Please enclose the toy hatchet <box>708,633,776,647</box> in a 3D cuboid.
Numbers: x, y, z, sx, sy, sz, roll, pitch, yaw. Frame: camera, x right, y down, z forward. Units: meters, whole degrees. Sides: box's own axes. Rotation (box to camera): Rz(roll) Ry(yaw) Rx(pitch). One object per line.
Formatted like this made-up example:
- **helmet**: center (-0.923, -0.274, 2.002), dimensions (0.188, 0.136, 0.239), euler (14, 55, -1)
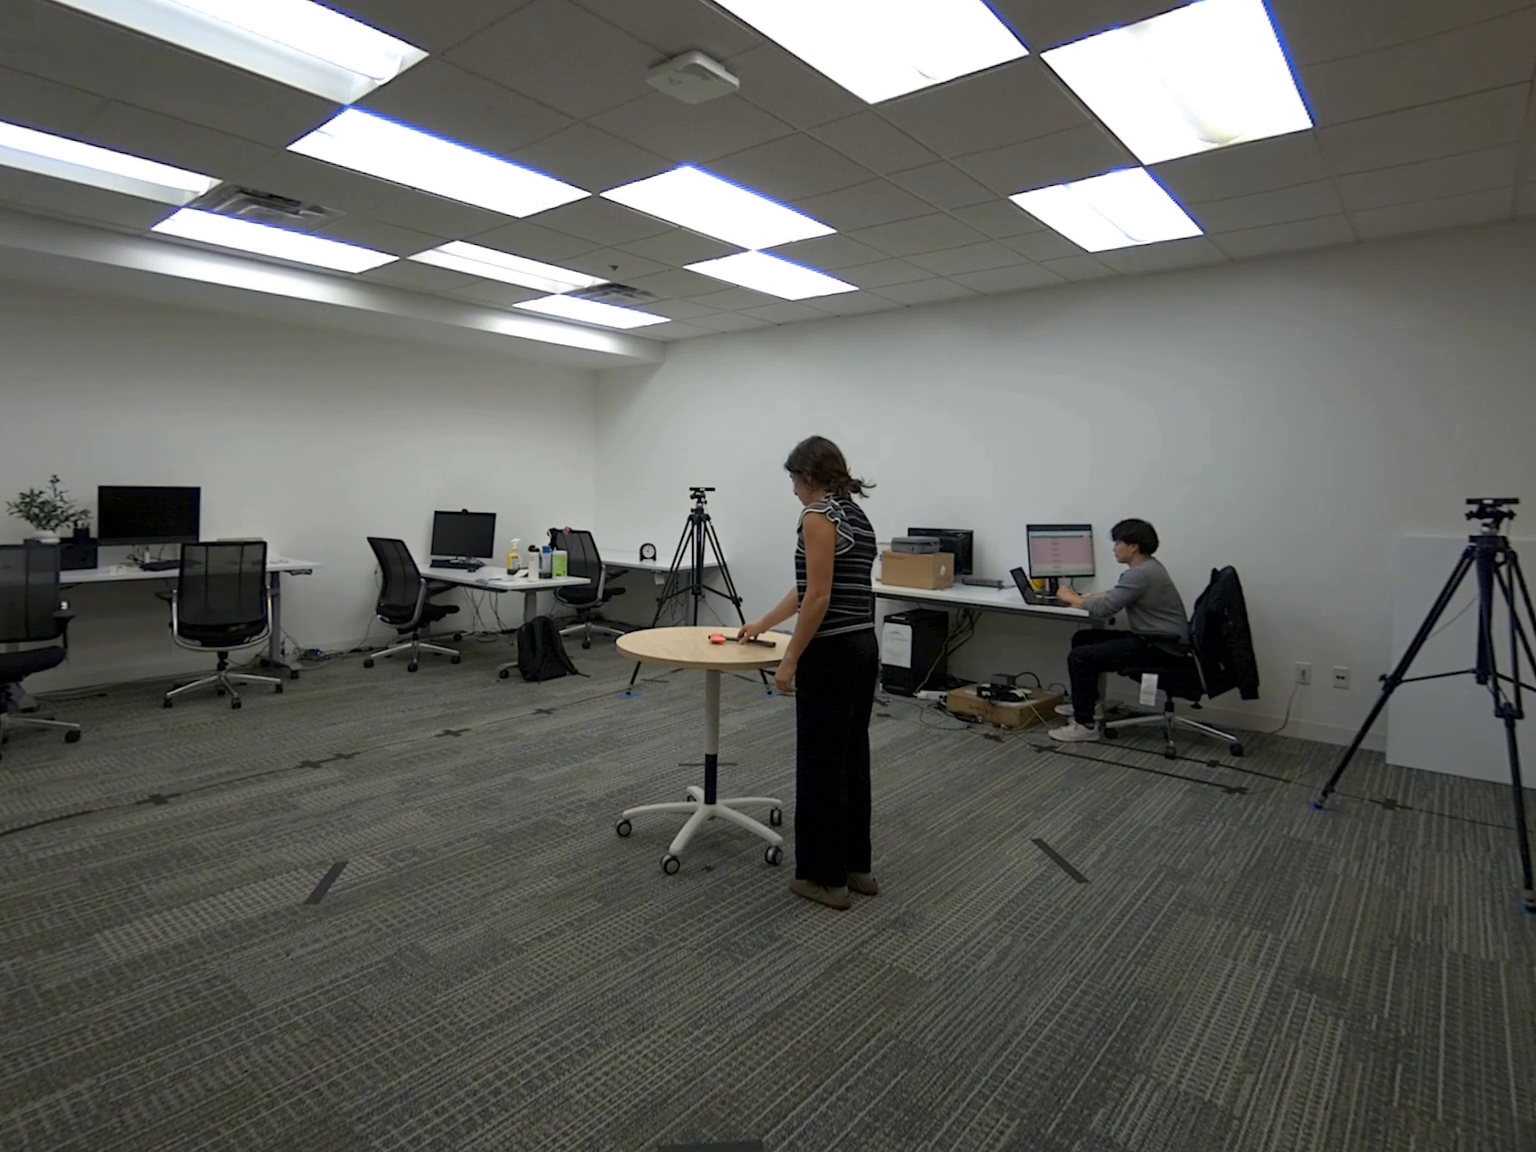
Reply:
- **toy hatchet**: center (-0.115, 0.255, 3.335), dimensions (0.278, 0.029, 0.127), euler (6, 5, 29)
